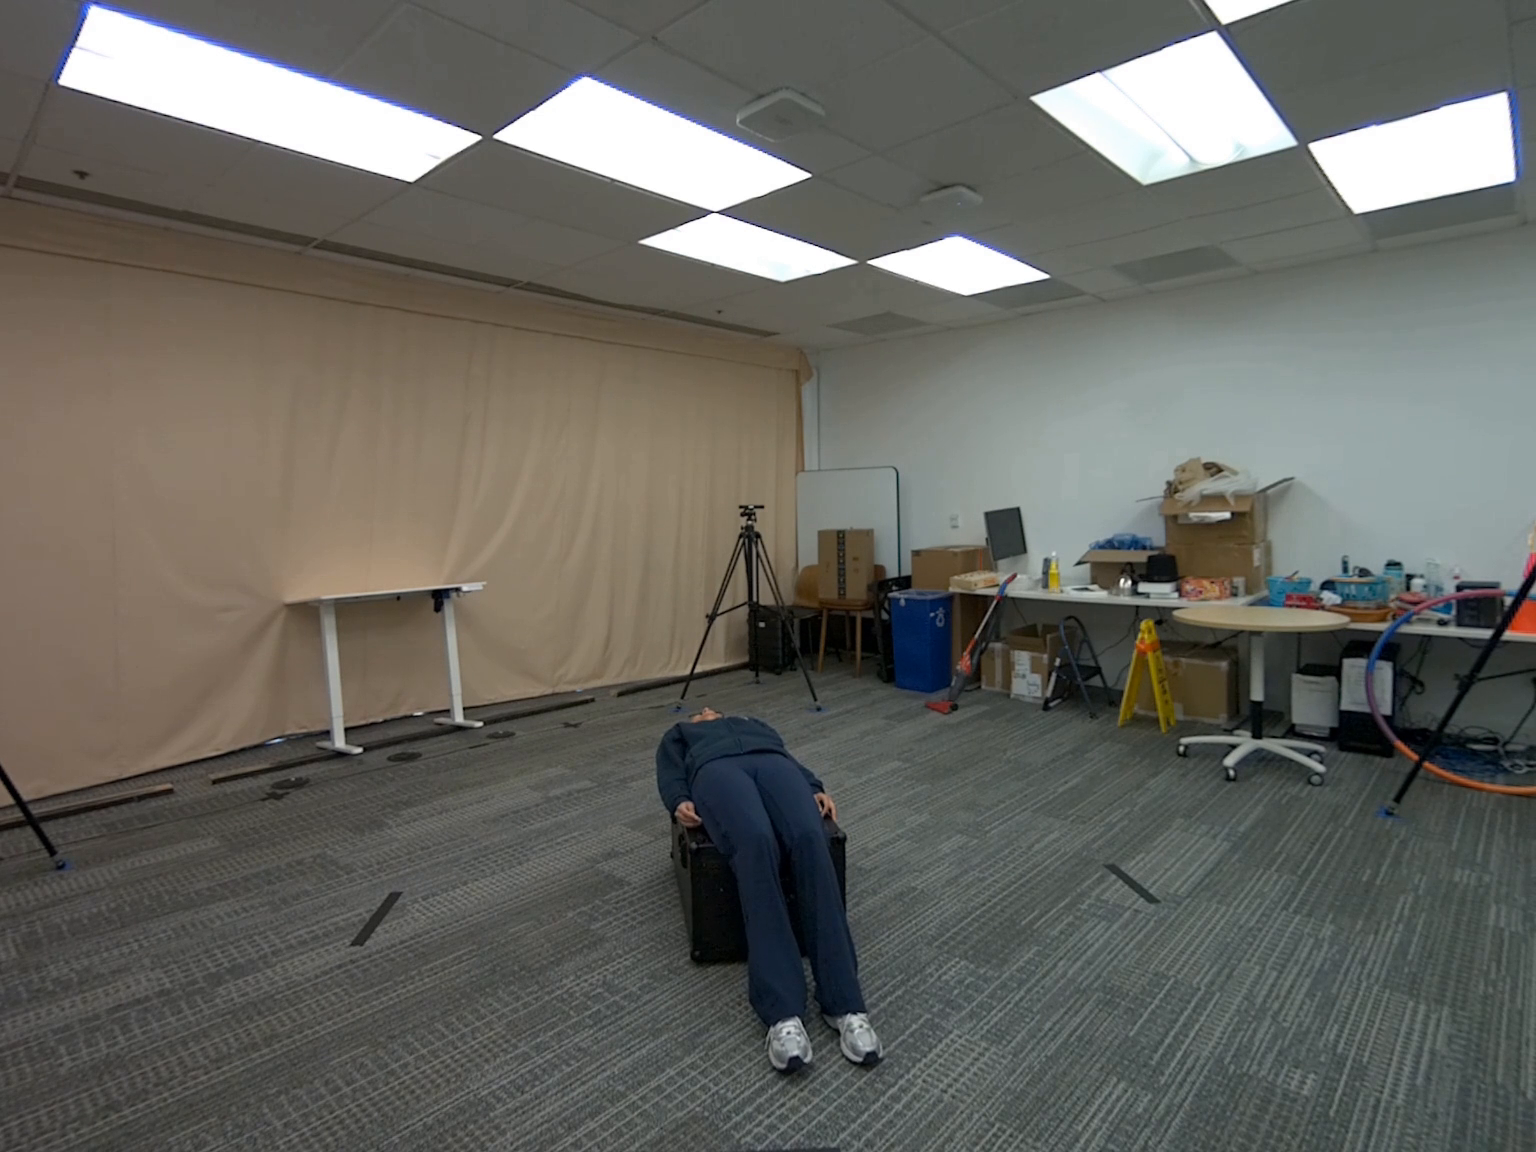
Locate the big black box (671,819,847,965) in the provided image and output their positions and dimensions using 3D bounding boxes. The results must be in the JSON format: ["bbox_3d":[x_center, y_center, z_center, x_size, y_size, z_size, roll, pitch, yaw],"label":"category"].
[{"bbox_3d":[-0.072,0.953,2.975,0.516,0.395,0.873,-3,6,-10],"label":"big black box"}]
